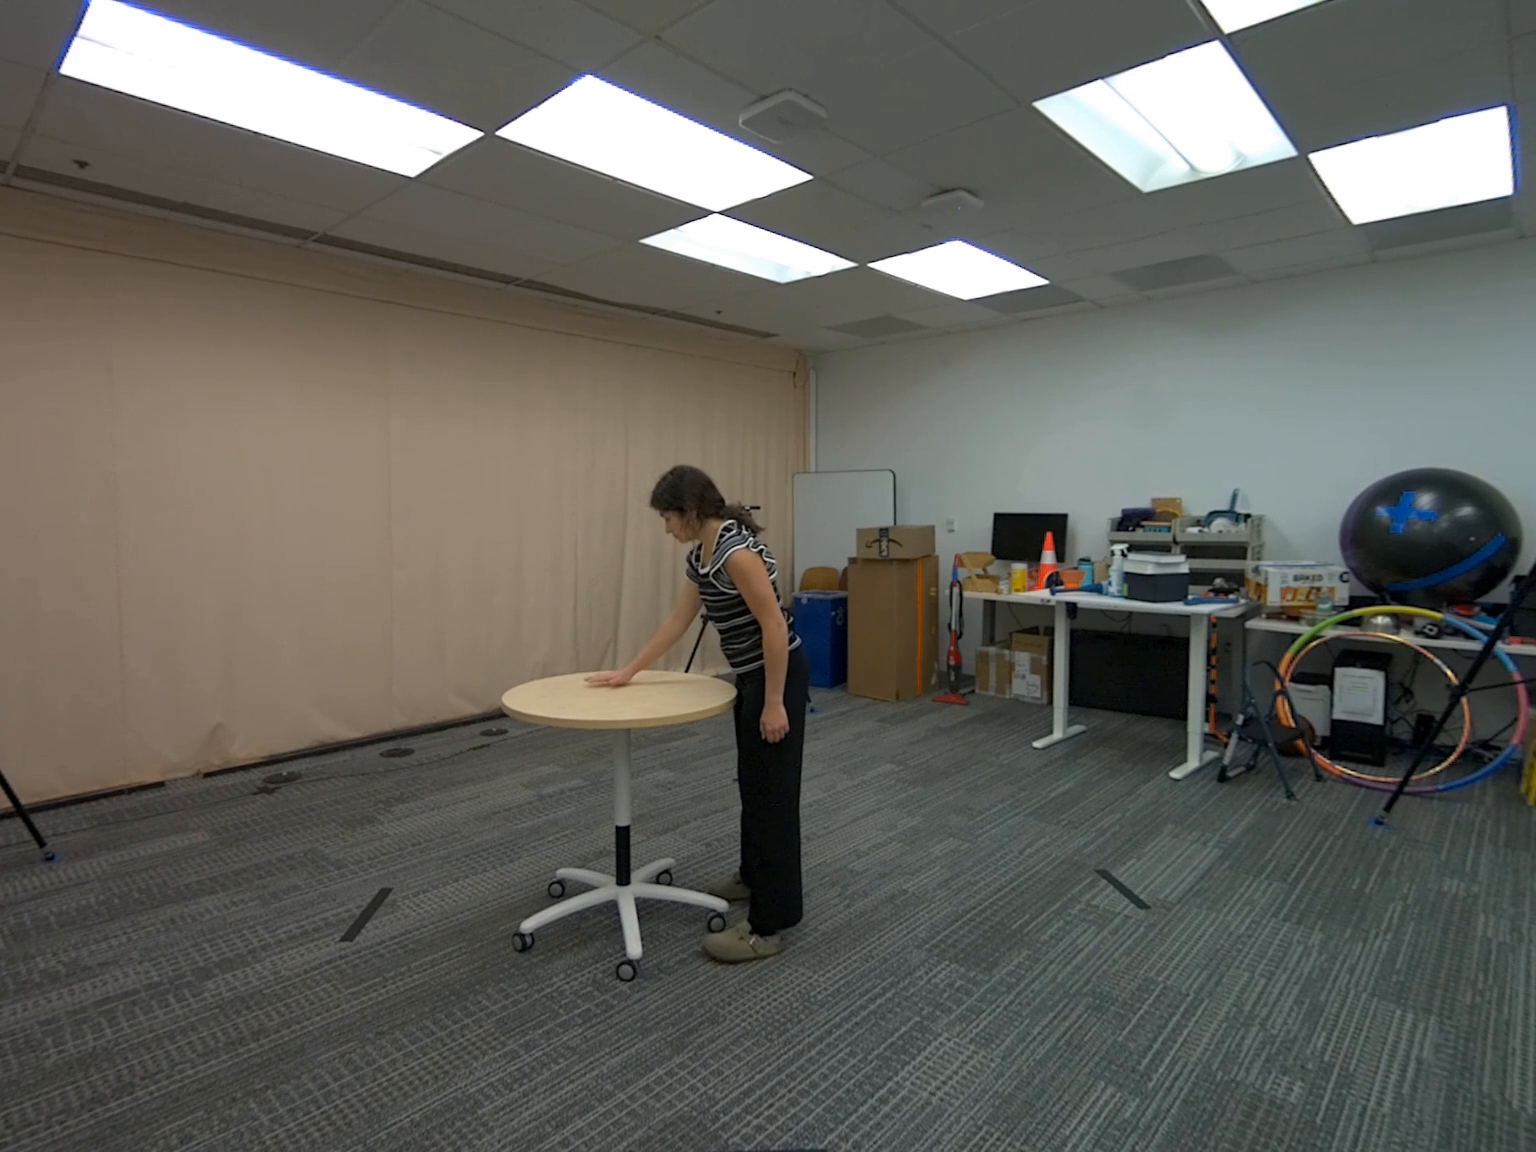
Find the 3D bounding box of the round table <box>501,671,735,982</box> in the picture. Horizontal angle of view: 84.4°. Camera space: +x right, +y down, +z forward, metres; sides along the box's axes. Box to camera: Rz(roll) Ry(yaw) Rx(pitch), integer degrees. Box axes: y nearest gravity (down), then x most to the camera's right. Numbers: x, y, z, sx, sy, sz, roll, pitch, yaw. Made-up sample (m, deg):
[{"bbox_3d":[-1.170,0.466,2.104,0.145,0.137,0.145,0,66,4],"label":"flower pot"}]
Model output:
[{"bbox_3d":[-0.484,0.778,2.788,0.763,0.793,0.766,0,3,-2],"label":"round table"}]
